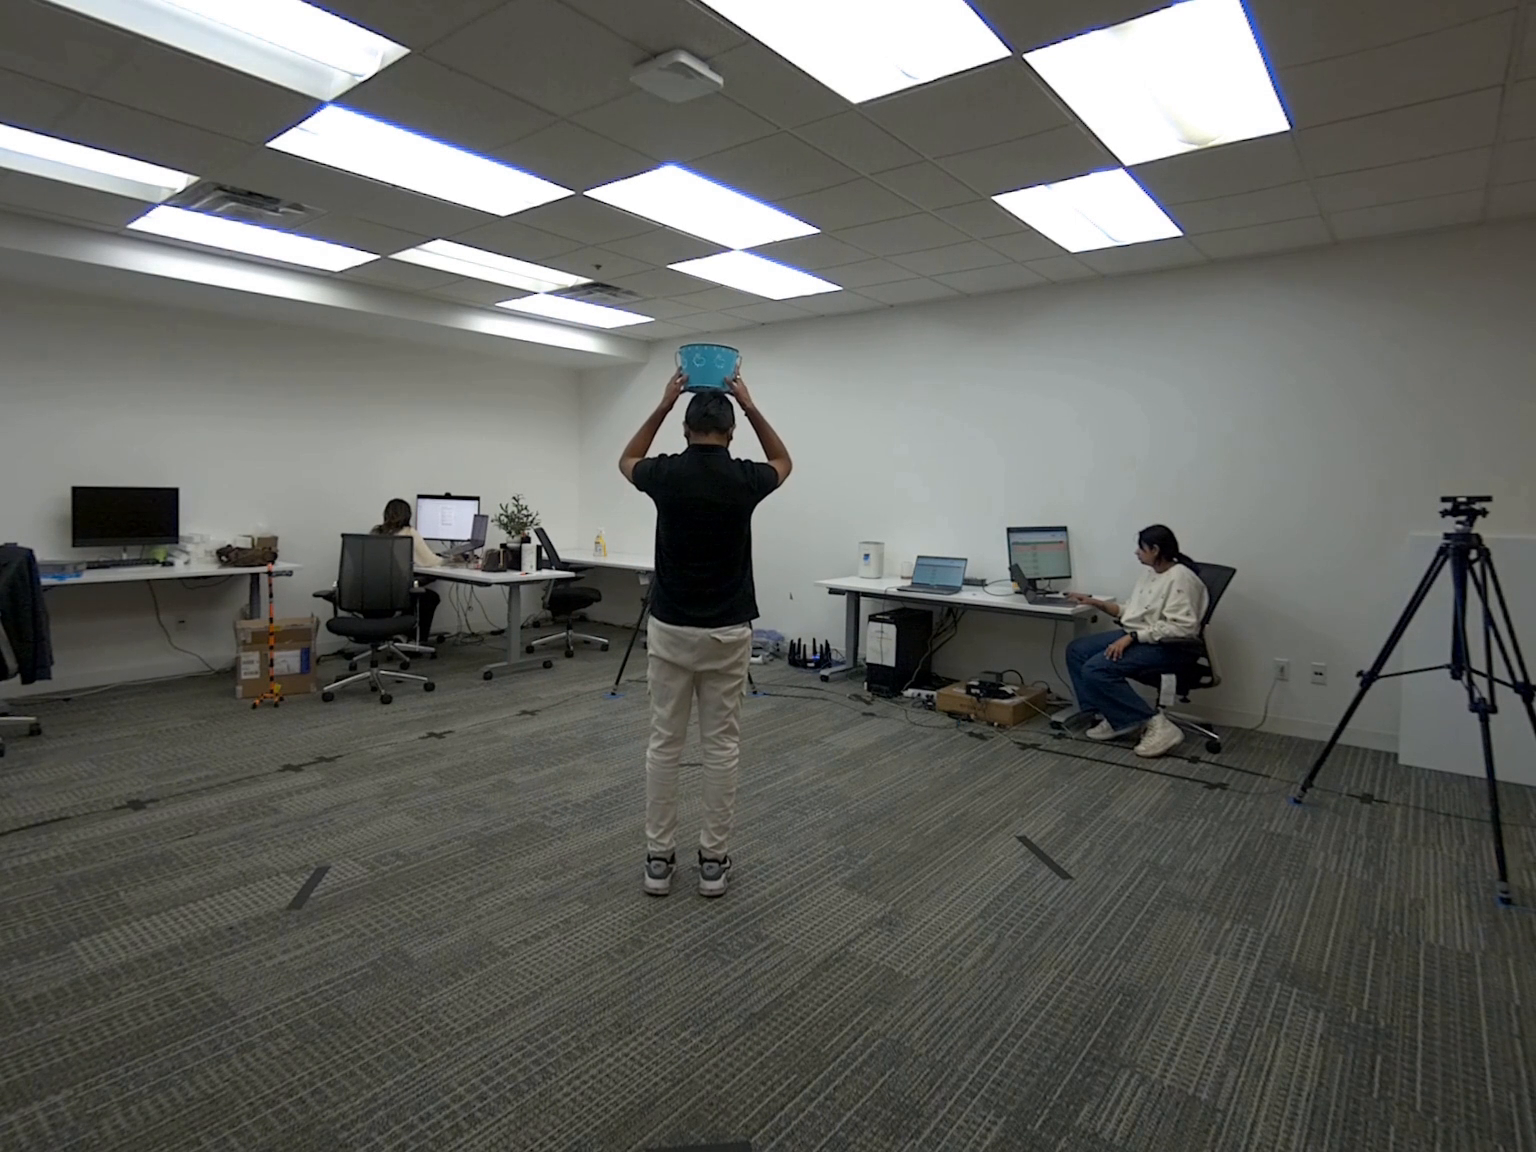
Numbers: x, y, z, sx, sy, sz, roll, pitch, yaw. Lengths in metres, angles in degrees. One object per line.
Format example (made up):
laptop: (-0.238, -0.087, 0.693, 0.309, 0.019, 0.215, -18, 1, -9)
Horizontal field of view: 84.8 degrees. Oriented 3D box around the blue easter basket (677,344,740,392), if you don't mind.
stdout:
blue easter basket: (-0.235, -0.776, 3.211, 0.243, 0.156, 0.244, 4, 1, -2)
